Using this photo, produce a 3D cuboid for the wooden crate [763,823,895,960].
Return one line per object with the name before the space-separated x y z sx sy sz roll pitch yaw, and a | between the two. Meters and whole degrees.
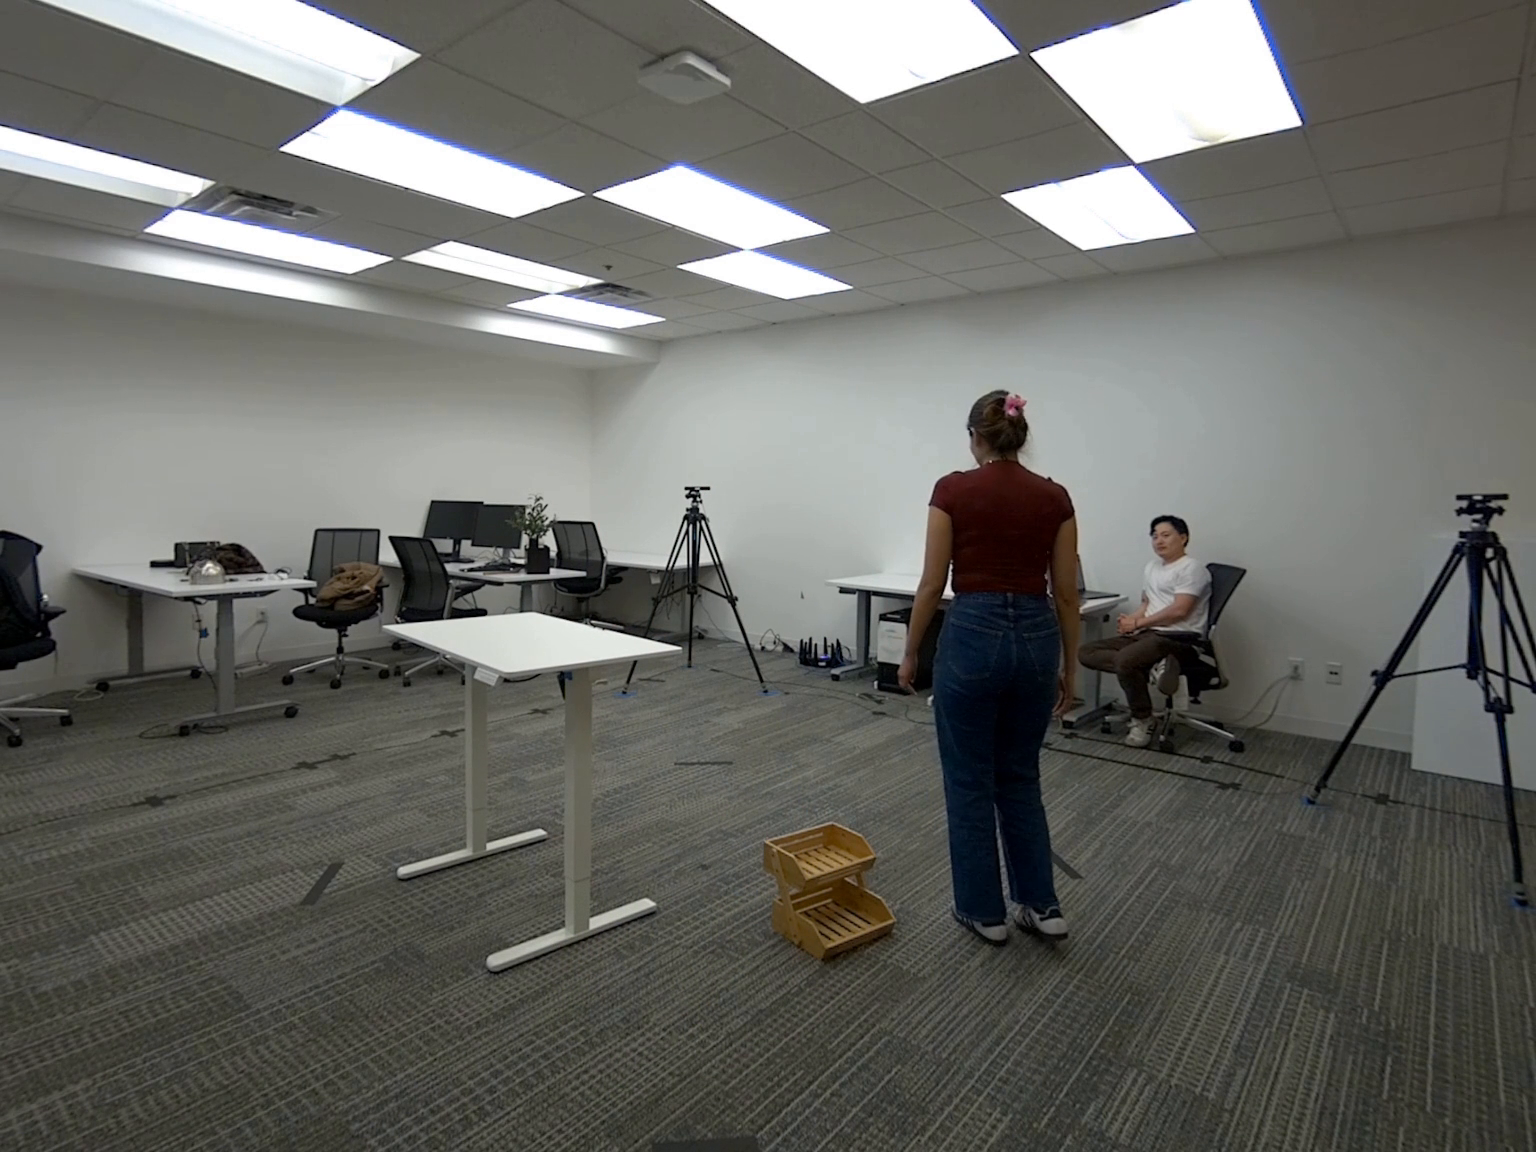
wooden crate | 0.190 0.982 2.693 0.315 0.272 0.312 -2 5 -37
